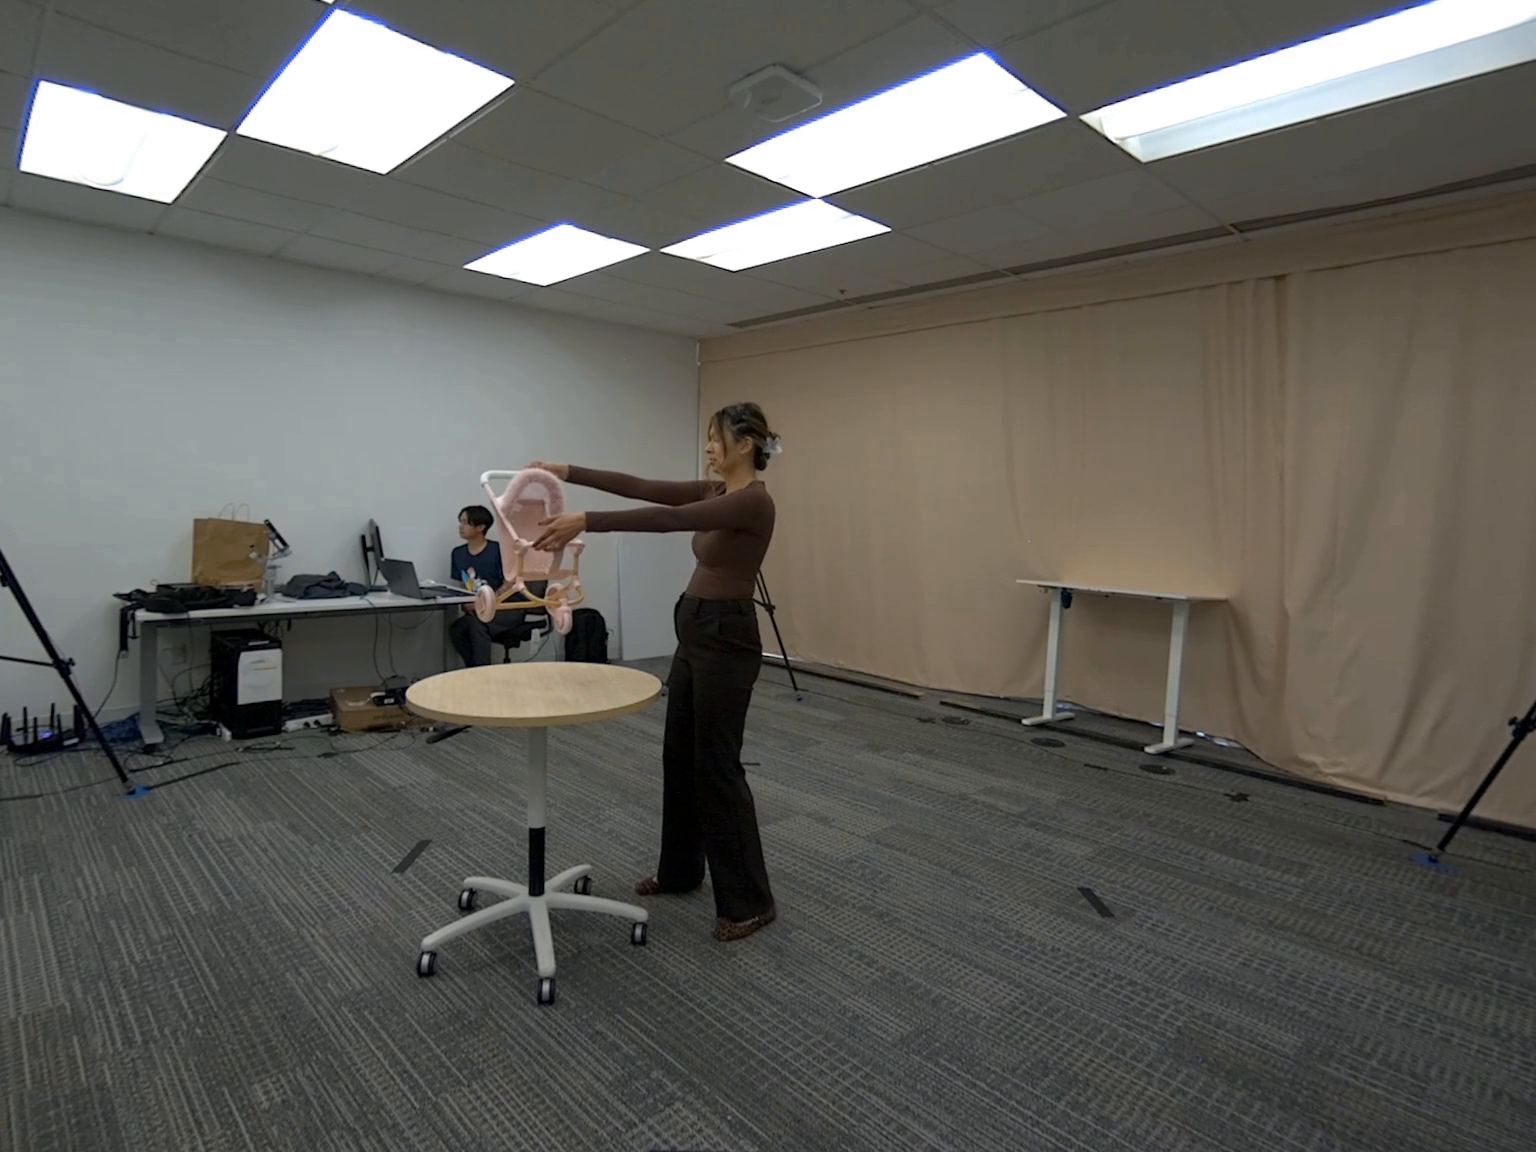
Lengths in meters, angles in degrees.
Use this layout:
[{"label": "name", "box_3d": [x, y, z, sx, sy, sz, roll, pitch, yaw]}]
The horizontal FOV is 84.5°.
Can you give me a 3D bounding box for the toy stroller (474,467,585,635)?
[{"label": "toy stroller", "box_3d": [-0.711, -0.083, 2.550, 0.275, 0.537, 0.348, 0, -7, -40]}]
